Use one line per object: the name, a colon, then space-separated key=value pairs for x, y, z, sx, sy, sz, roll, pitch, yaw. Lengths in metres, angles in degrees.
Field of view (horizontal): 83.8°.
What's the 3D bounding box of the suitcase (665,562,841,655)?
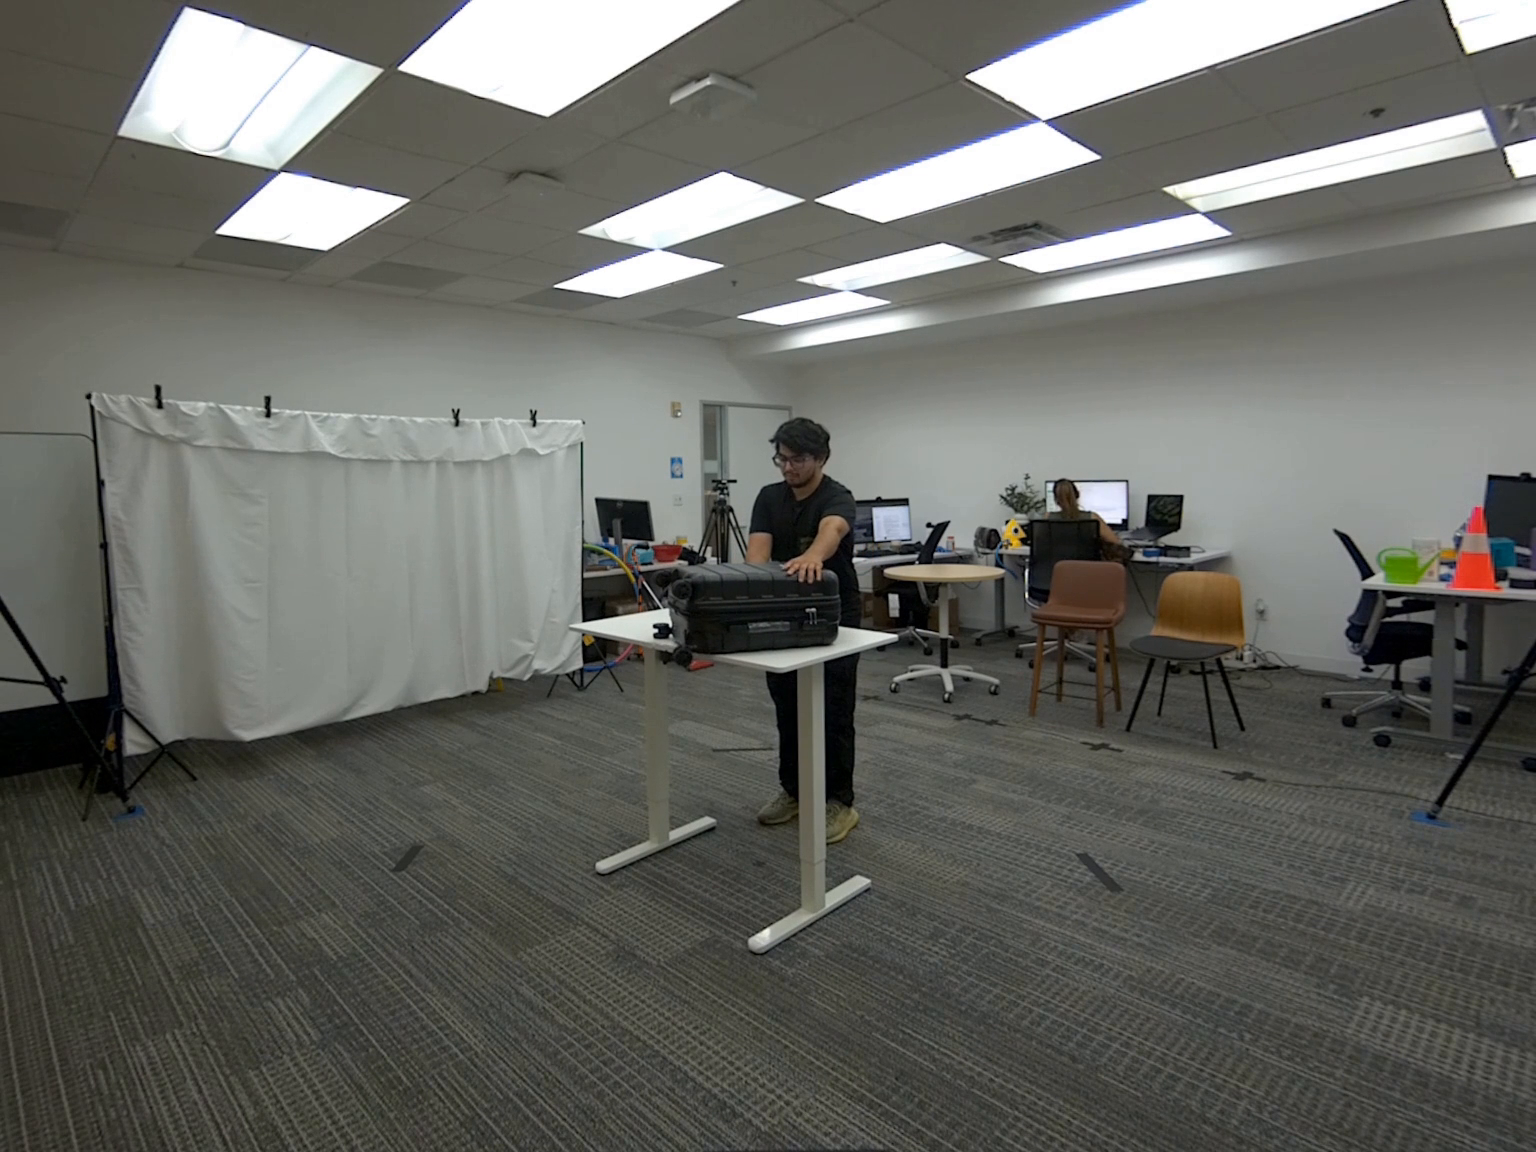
suitcase: x=-0.067 y=0.099 z=2.725 sx=0.541 sy=0.247 sz=0.383 roll=-4 pitch=7 yaw=-17
